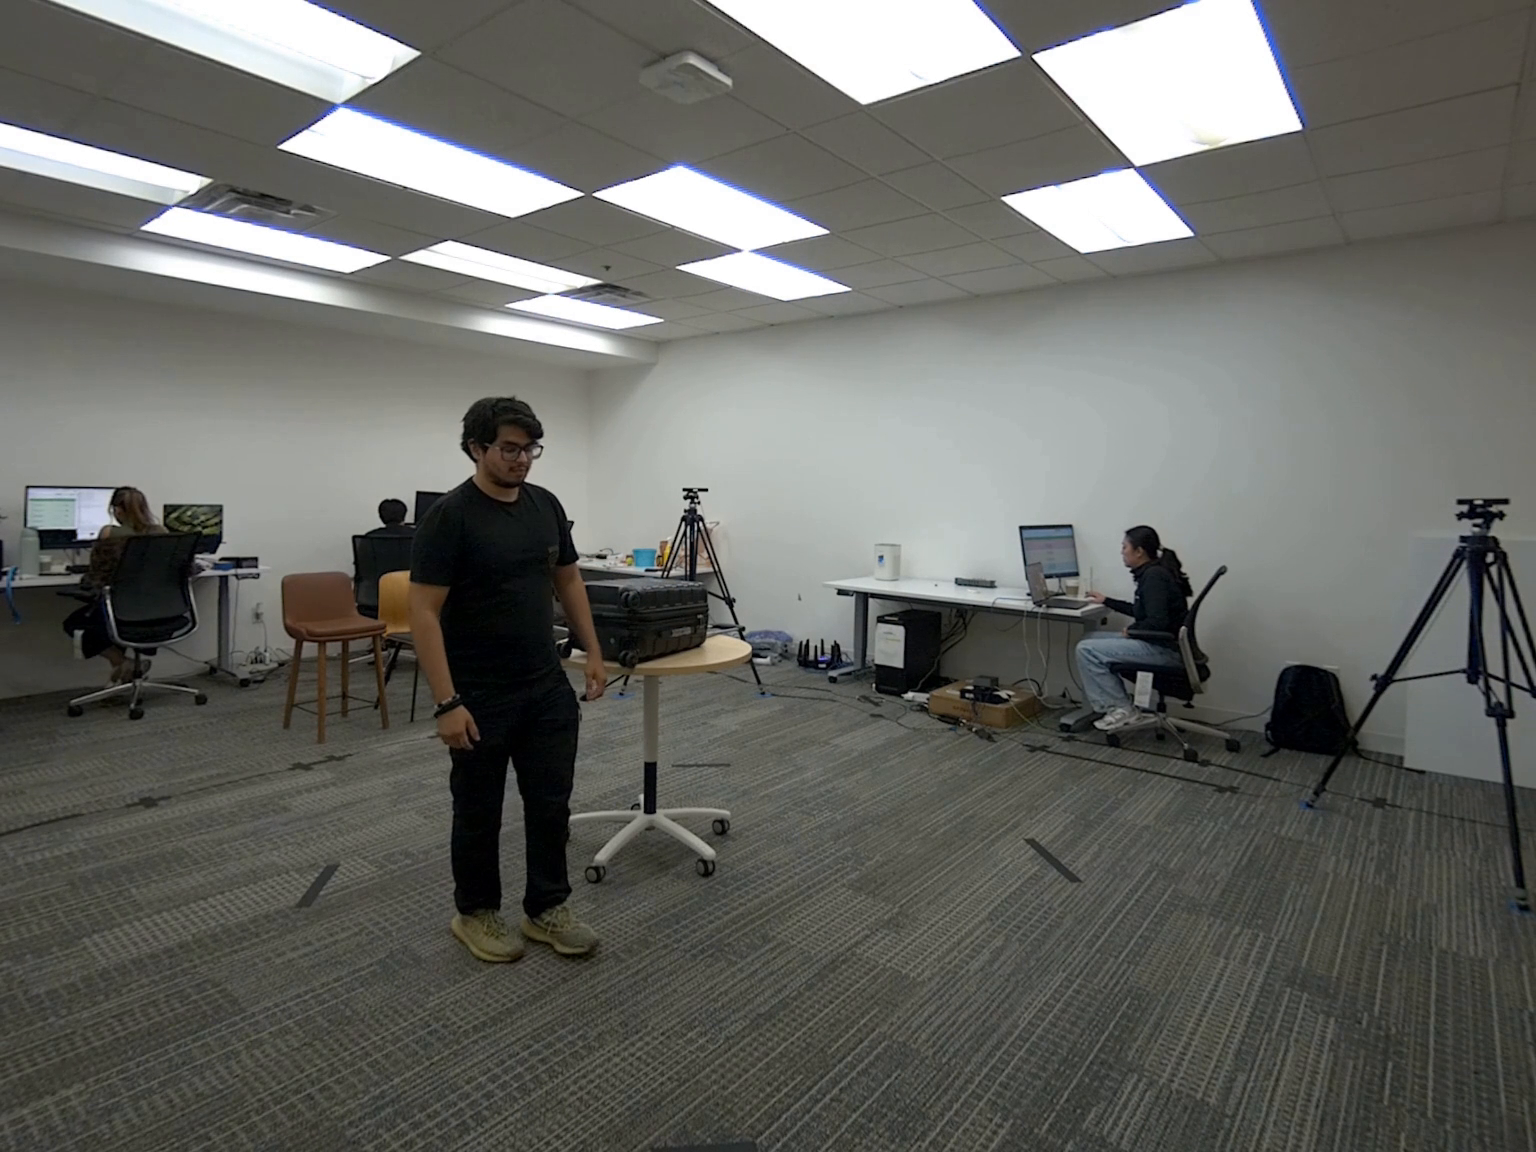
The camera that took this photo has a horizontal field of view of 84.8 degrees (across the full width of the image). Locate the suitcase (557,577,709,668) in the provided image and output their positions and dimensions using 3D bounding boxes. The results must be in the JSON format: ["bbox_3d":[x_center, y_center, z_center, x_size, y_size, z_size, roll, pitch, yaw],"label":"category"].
[{"bbox_3d":[-0.396,0.136,3.329,0.395,0.256,0.955,2,5,28],"label":"suitcase"}]
